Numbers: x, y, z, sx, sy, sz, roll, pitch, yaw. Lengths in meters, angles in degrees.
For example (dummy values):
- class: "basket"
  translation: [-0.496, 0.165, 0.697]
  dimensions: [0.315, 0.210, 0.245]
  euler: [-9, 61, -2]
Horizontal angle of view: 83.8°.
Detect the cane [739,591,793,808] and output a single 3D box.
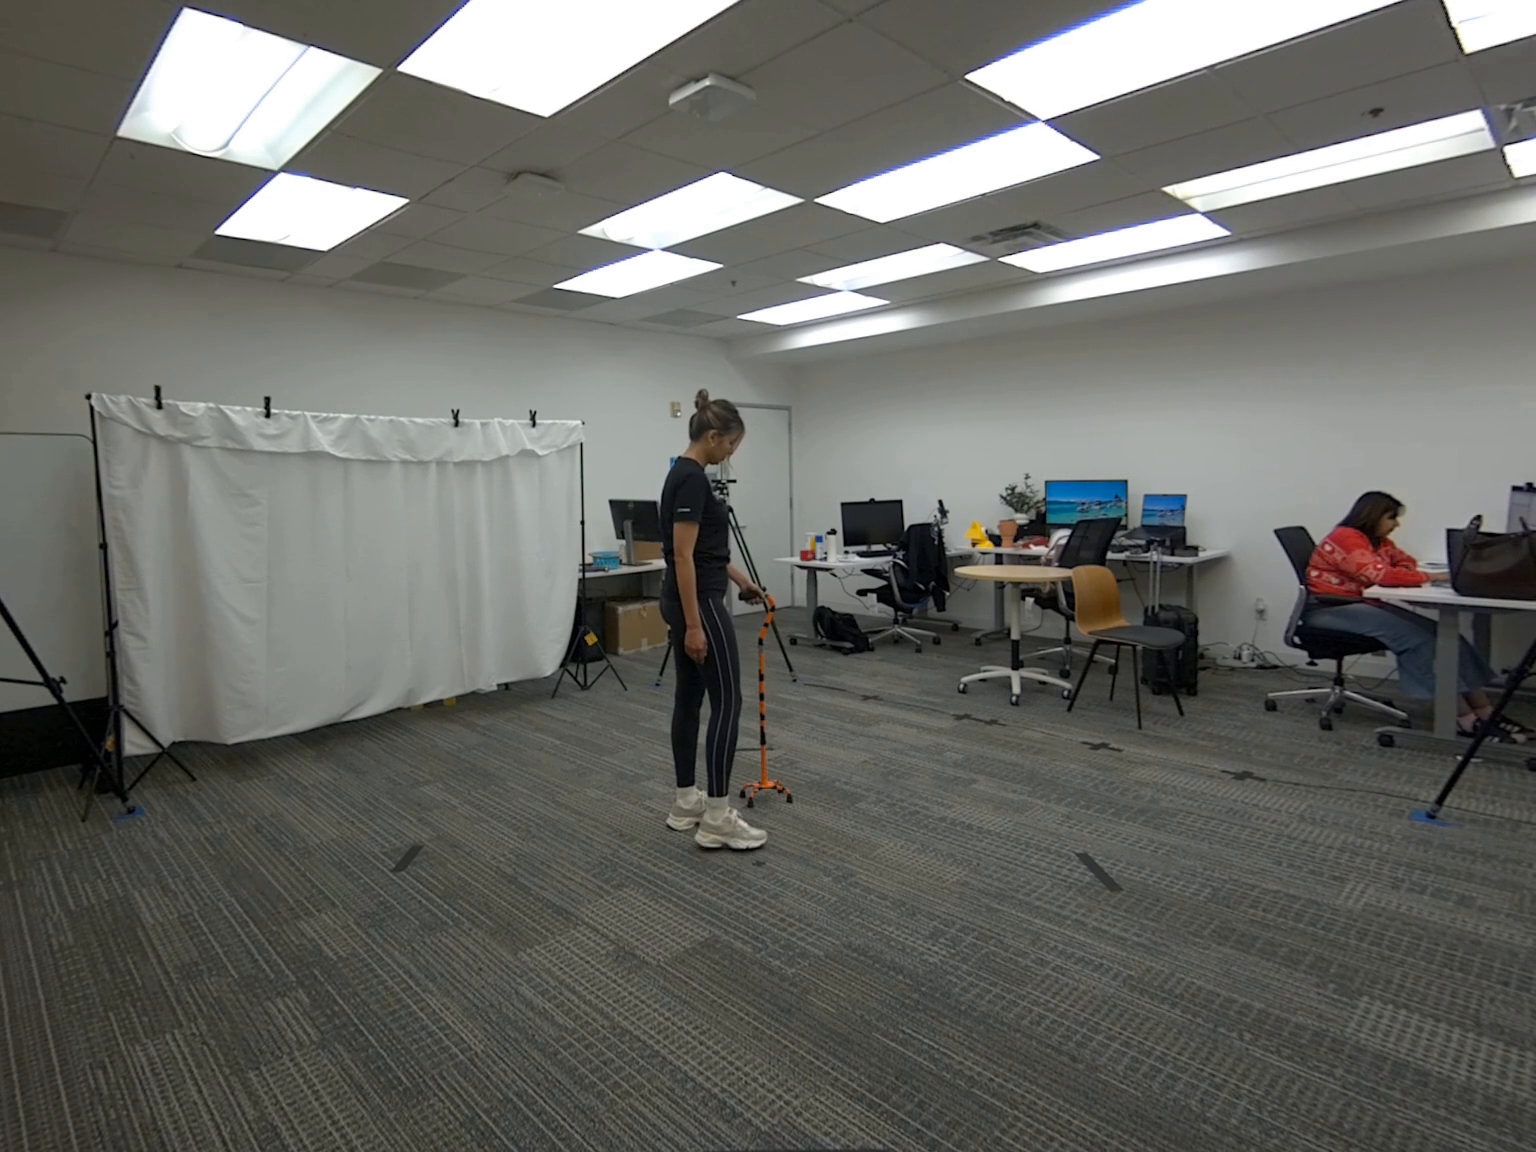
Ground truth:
- class: "cane"
  translation: [-0.021, 0.527, 3.711]
  dimensions: [0.204, 0.905, 0.154]
  euler: [-2, 4, -15]
